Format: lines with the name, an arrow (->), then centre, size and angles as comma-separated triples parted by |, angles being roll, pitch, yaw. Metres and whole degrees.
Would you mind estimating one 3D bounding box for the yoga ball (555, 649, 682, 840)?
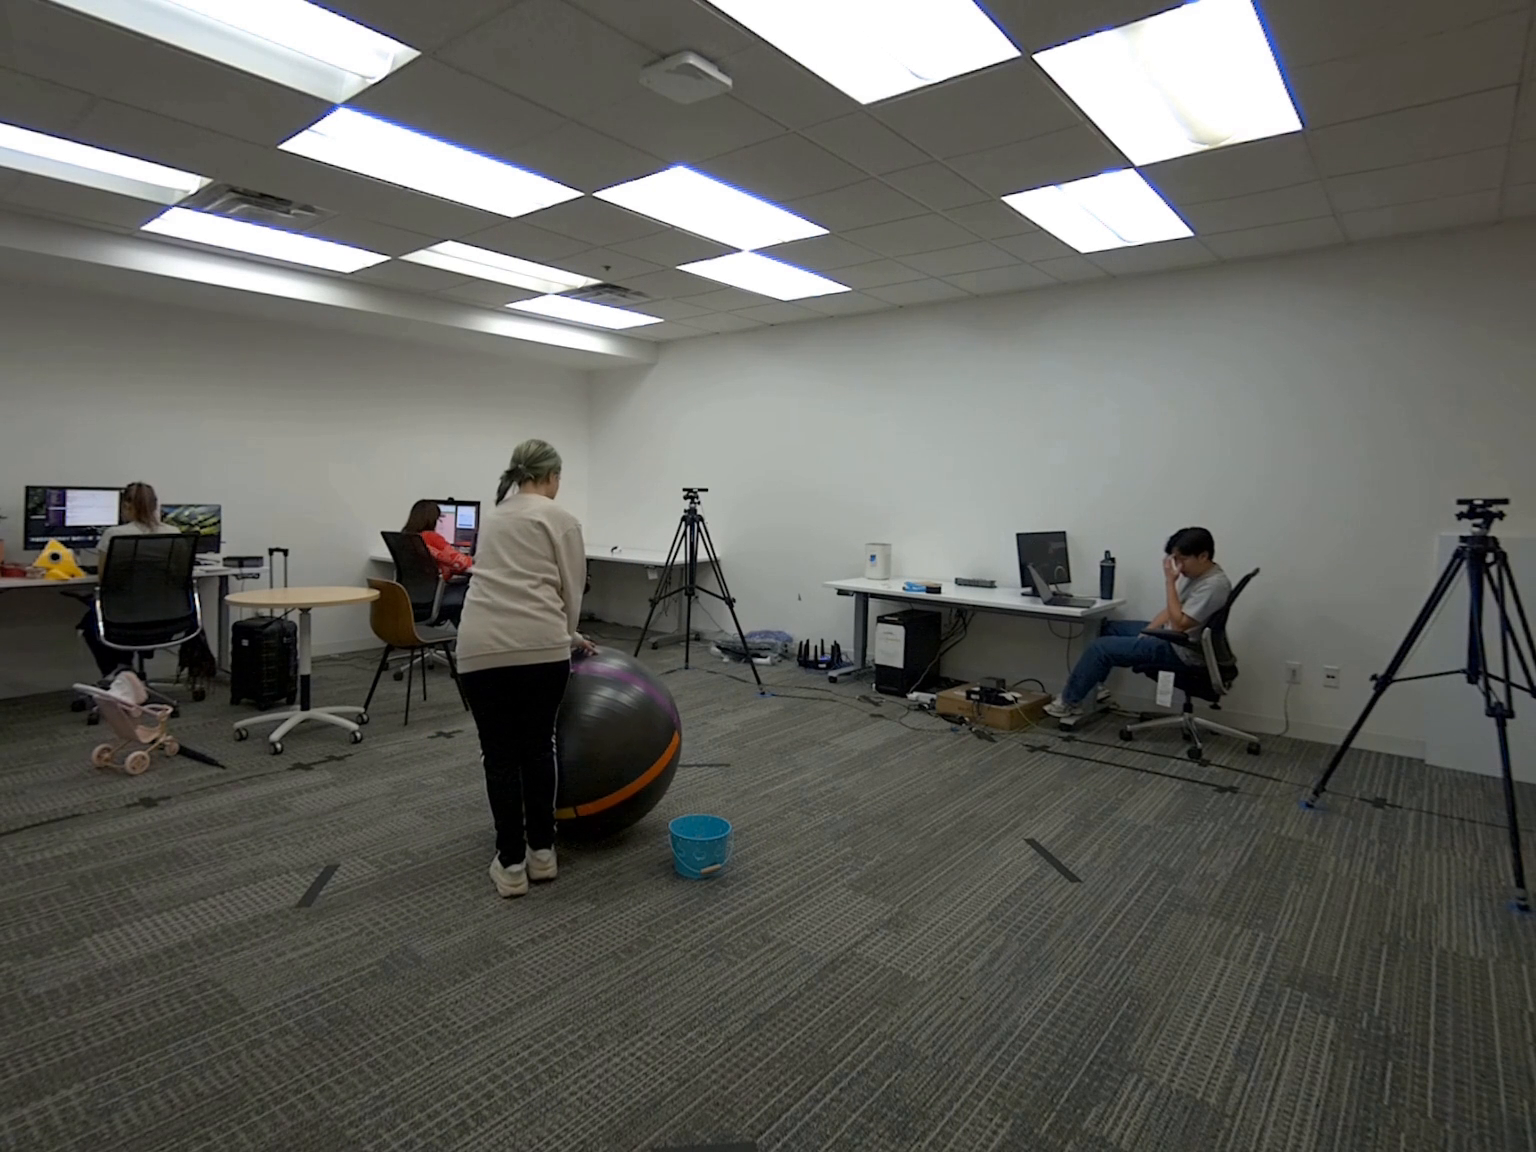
yoga ball -> -0.740, 0.667, 3.427 | 0.757, 0.755, 0.762 | 1, 4, -2
